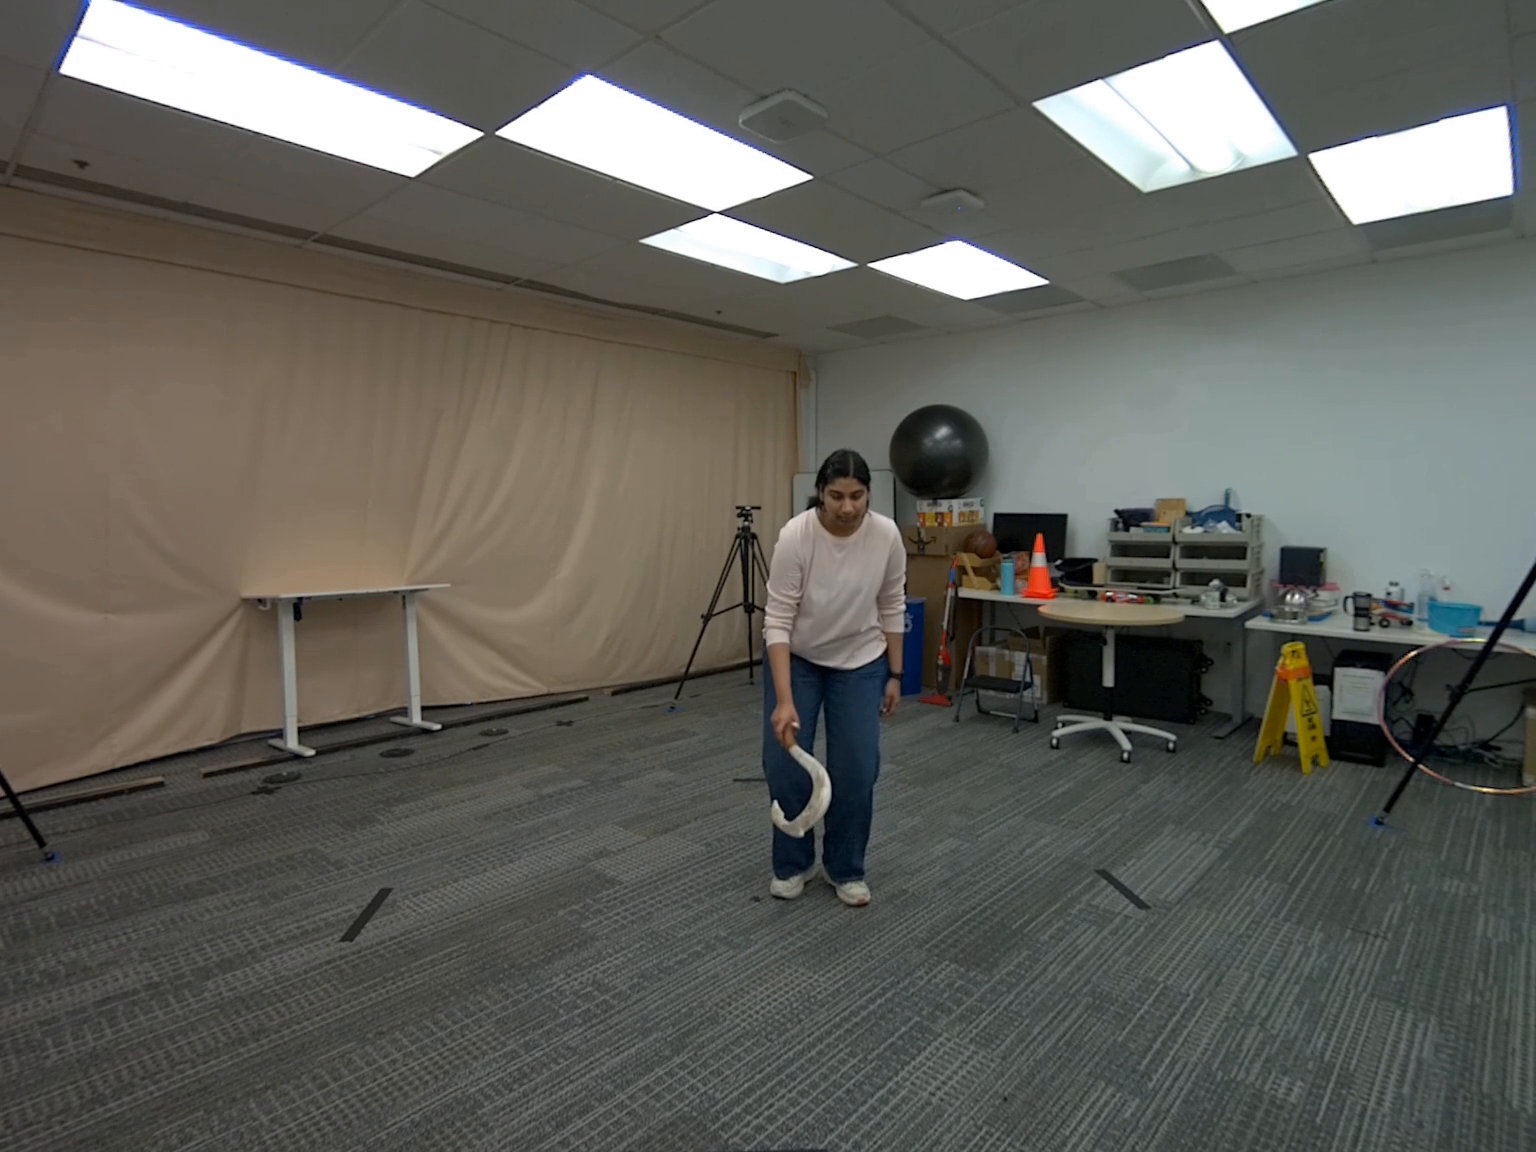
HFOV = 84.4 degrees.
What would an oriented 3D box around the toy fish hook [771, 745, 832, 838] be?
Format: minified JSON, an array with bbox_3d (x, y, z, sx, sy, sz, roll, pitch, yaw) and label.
[{"bbox_3d":[0.064,0.597,2.601,0.047,0.225,0.519,42,6,-25],"label":"toy fish hook"}]
